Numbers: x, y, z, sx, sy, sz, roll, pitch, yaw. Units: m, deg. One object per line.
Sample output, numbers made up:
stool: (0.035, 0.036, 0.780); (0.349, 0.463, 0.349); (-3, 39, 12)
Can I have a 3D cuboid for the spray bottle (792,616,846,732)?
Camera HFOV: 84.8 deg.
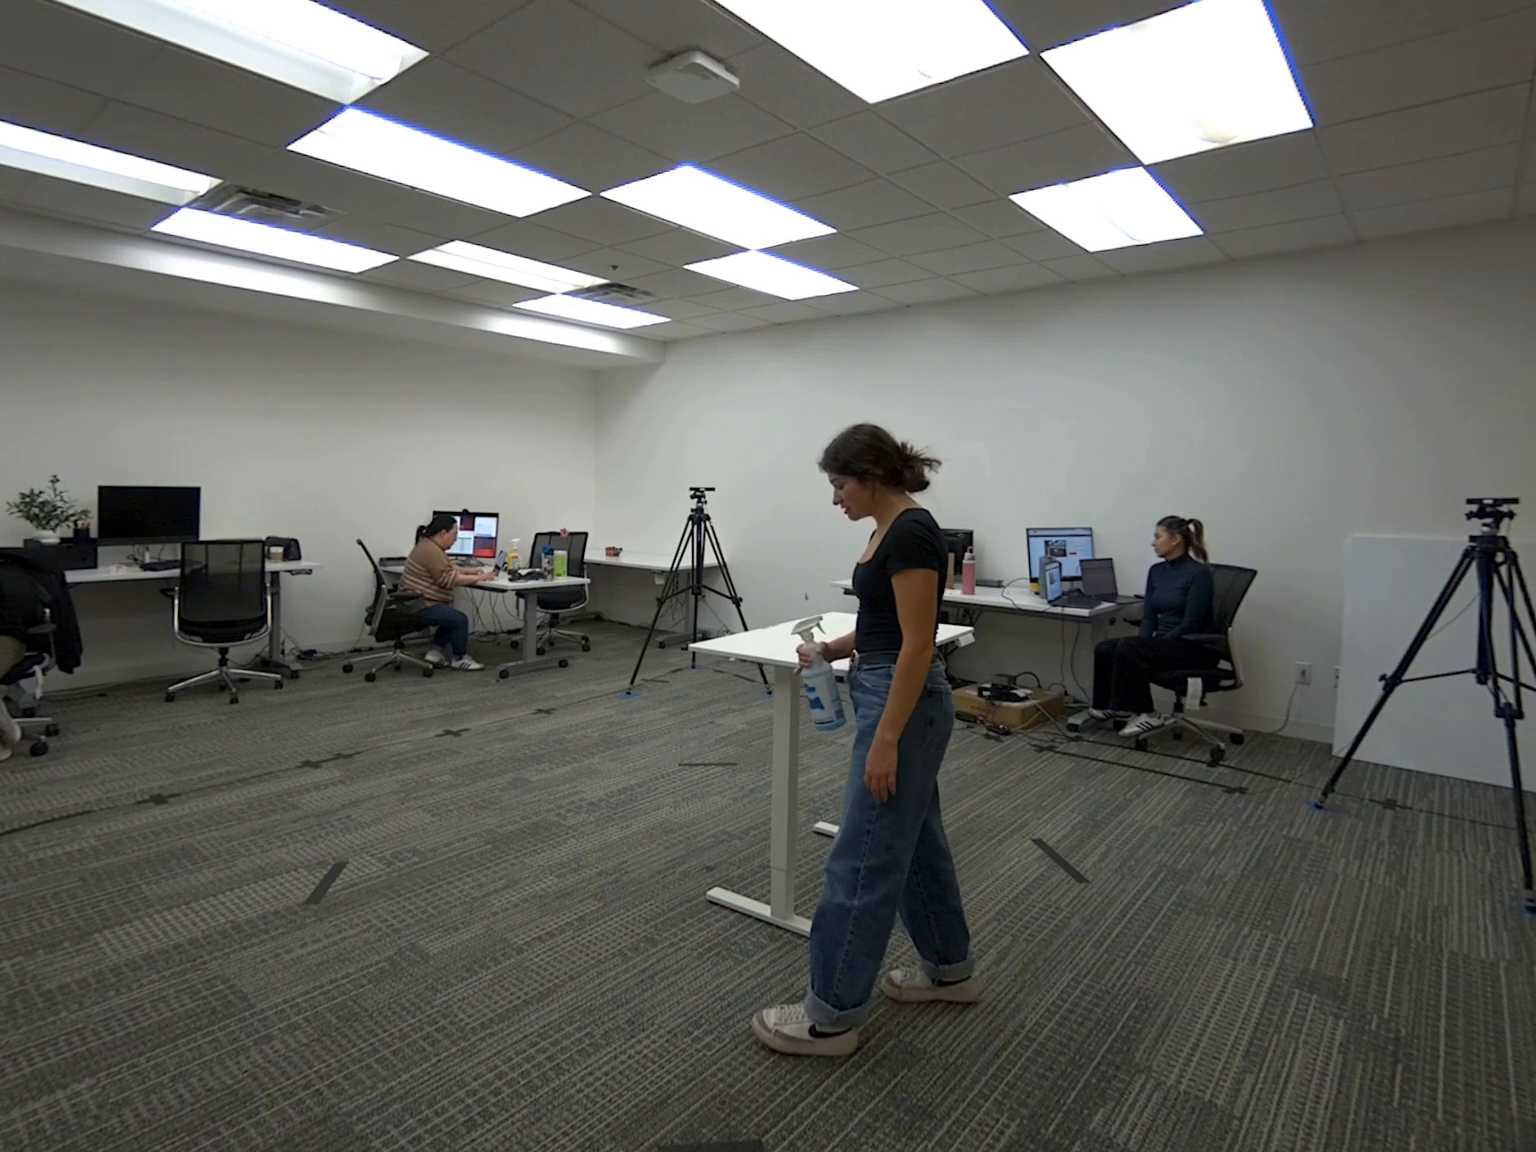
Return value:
spray bottle: (0.131, 0.256, 2.271); (0.091, 0.297, 0.085); (-12, 0, 20)
